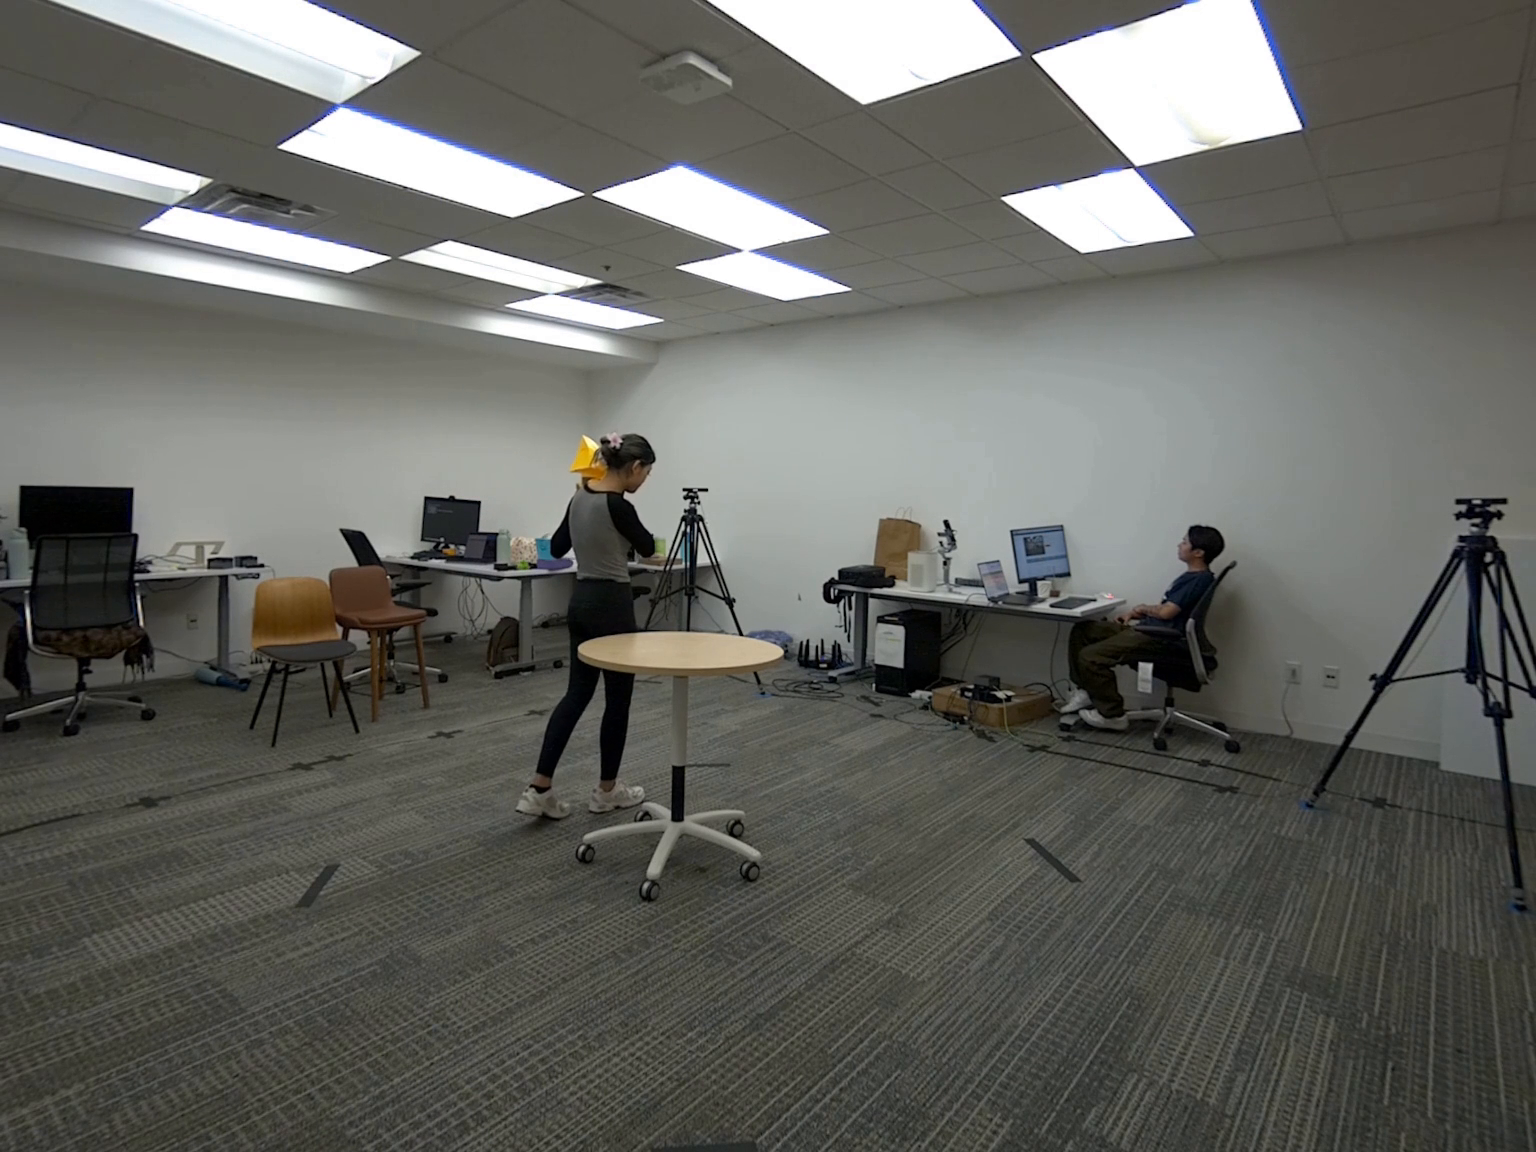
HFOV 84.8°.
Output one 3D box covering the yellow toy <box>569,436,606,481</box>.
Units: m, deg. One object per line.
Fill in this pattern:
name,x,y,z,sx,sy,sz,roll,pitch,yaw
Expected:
yellow toy,-0.779,-0.513,3.775,0.187,0.230,0.211,-4,2,-37
